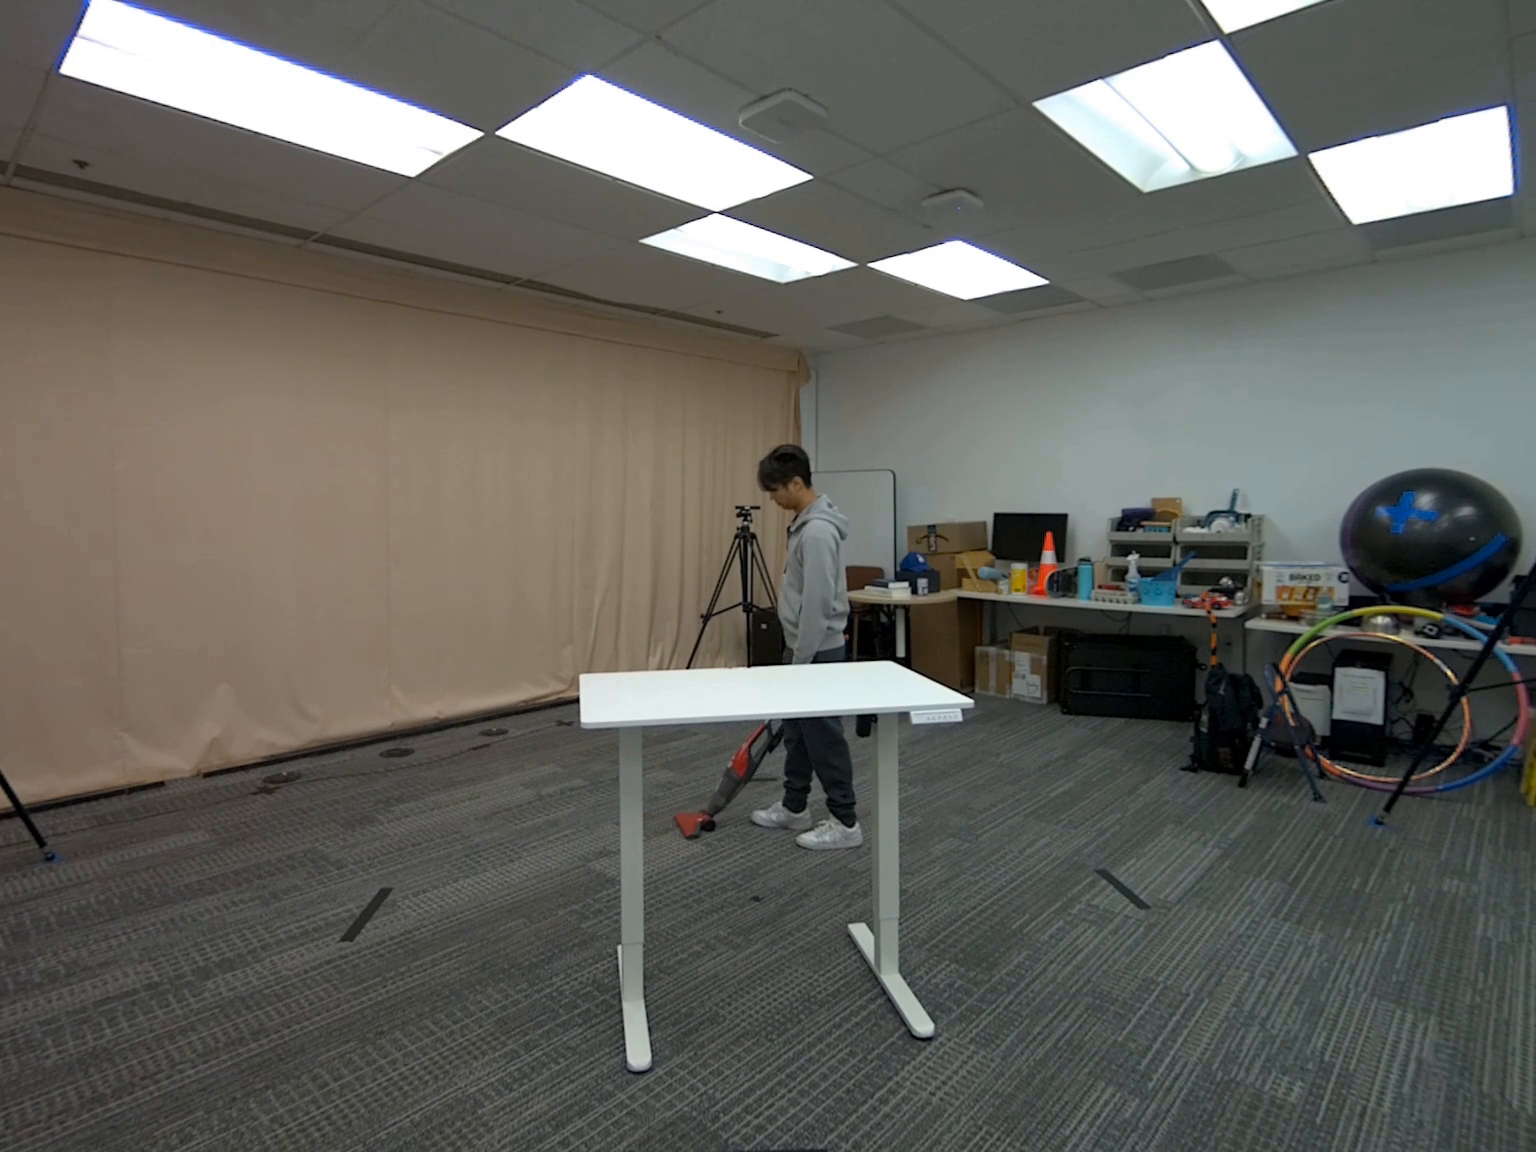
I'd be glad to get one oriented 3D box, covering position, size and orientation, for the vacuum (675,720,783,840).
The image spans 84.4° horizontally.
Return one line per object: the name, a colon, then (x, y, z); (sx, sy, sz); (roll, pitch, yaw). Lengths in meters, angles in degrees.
vacuum: (0.005, 0.694, 3.739); (0.142, 1.047, 0.256); (42, -10, -12)
